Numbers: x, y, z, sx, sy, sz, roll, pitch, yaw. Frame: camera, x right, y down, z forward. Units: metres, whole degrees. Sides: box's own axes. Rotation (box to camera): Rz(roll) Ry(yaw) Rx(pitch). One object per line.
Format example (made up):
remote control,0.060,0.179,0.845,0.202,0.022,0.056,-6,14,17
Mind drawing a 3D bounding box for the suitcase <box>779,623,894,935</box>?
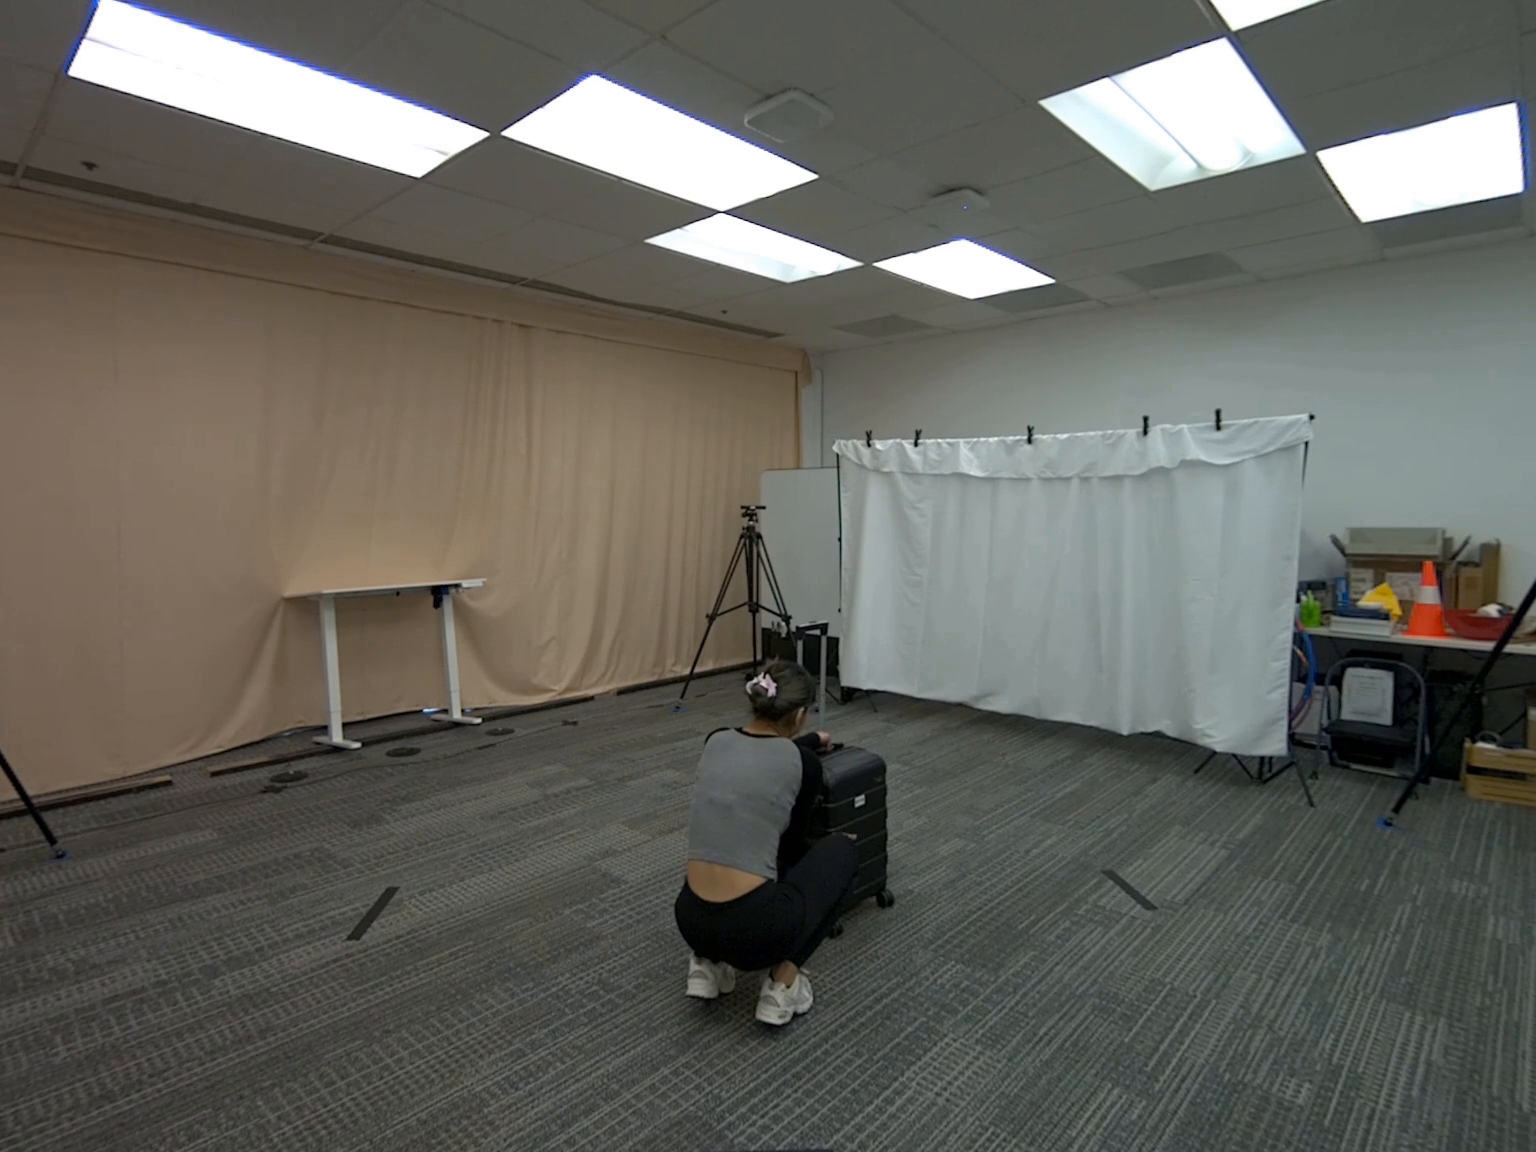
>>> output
suitcase,0.238,0.672,2.891,0.266,0.976,0.372,6,6,43
